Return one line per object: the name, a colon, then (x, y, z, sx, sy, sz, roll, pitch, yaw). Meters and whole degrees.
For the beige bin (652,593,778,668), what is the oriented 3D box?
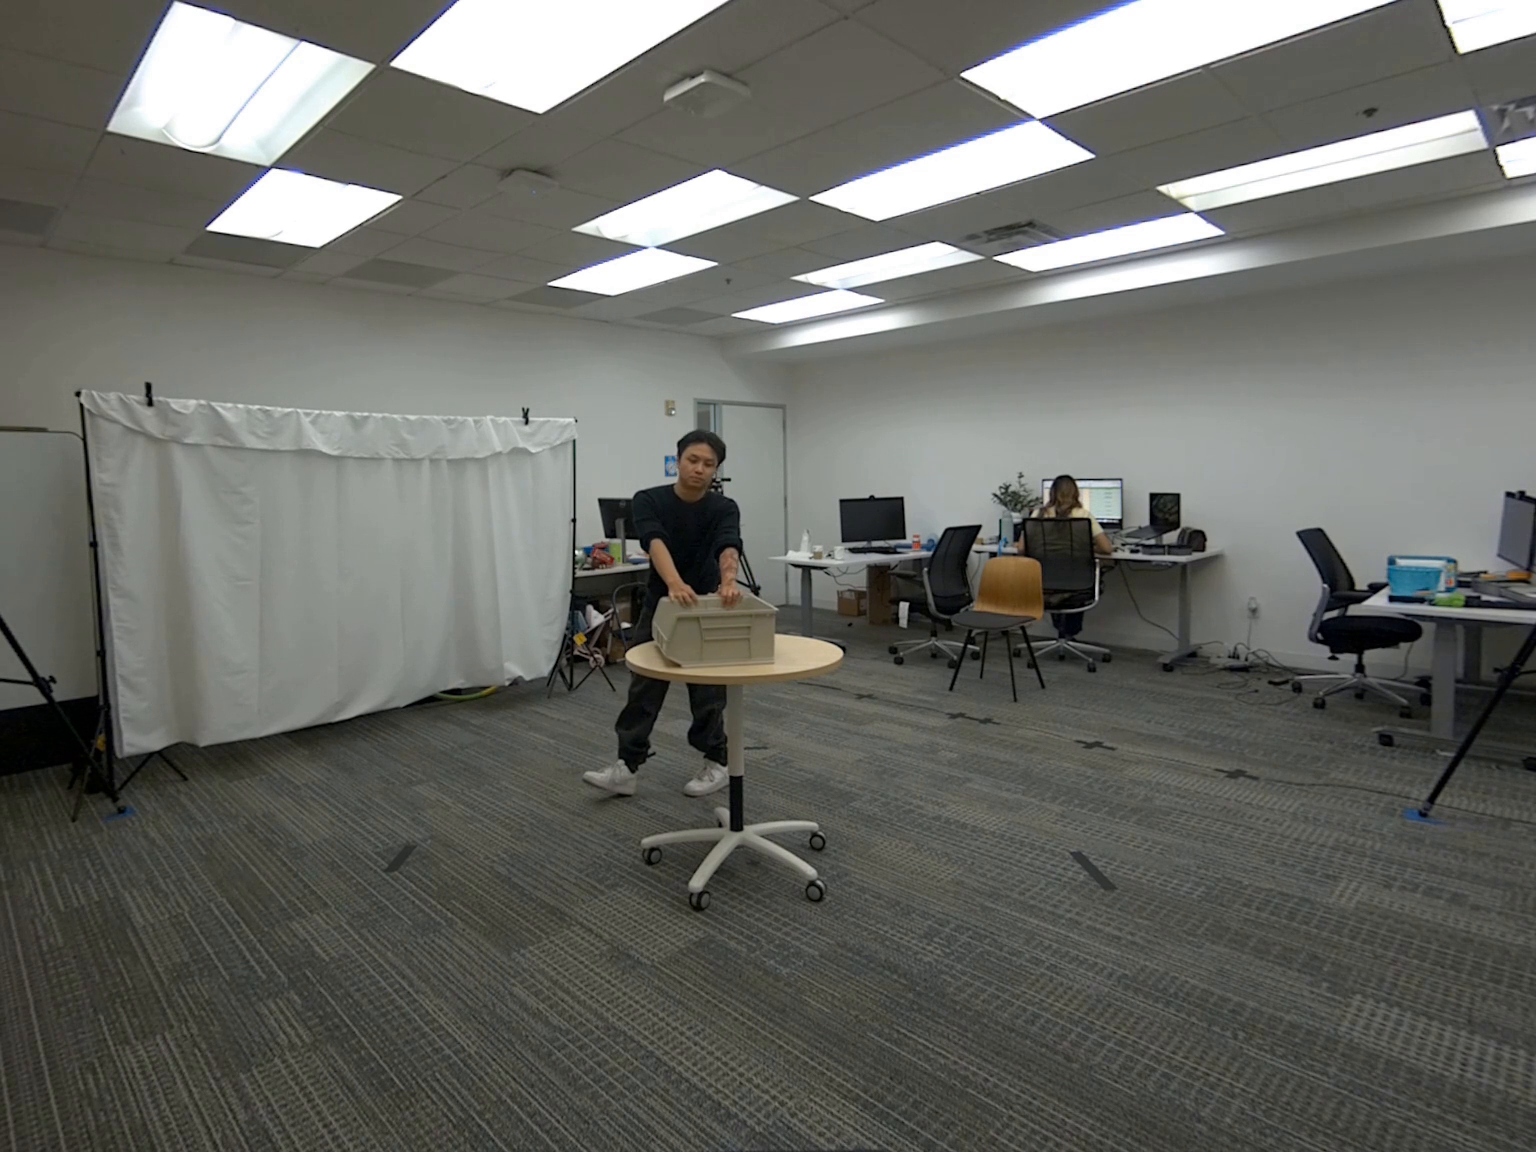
beige bin: (-0.194, 0.181, 2.981, 0.373, 0.188, 0.428, -1, 4, -13)
